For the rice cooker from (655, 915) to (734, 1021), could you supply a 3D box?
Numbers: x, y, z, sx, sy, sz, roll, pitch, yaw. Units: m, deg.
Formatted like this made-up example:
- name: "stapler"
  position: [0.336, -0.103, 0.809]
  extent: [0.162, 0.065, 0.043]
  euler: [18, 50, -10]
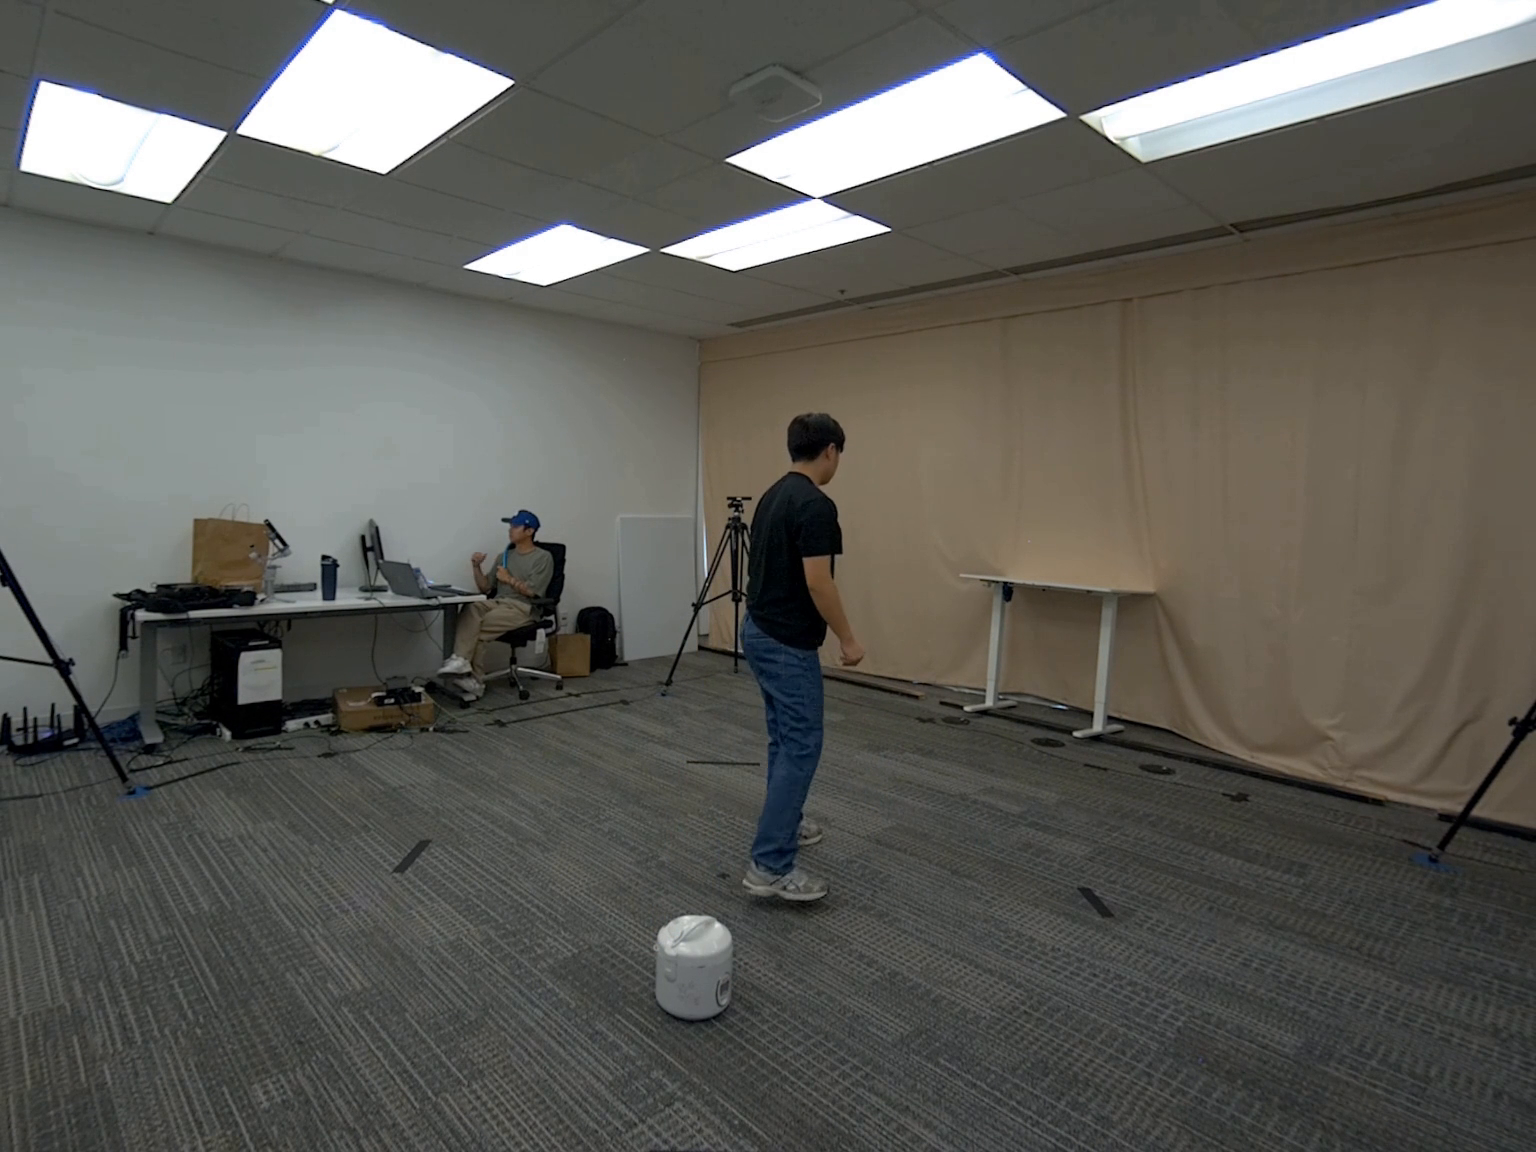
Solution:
- name: "rice cooker"
  position: [-0.204, 1.064, 2.311]
  extent: [0.223, 0.232, 0.216]
  euler: [3, 5, 37]
